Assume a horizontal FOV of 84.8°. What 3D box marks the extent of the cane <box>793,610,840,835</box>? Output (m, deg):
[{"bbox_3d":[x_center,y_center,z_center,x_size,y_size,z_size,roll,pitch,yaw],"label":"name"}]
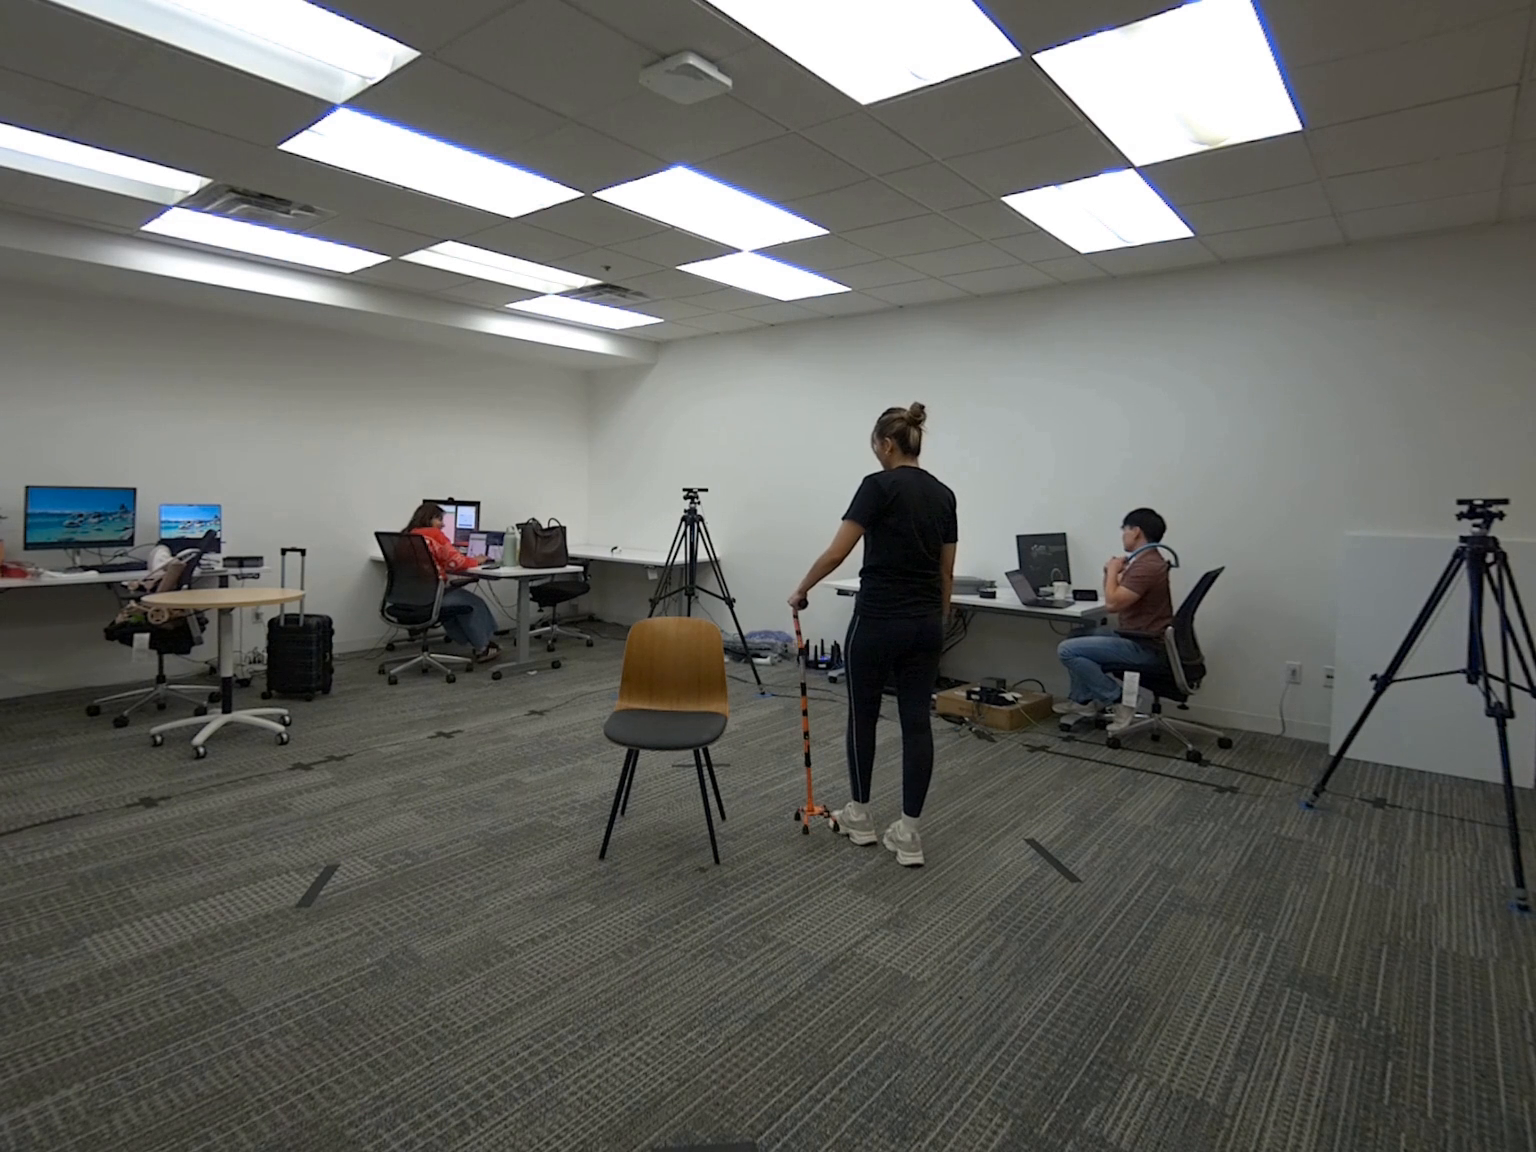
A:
[{"bbox_3d":[0.151,0.551,3.416,0.151,0.908,0.207,-5,0,-6],"label":"cane"}]
